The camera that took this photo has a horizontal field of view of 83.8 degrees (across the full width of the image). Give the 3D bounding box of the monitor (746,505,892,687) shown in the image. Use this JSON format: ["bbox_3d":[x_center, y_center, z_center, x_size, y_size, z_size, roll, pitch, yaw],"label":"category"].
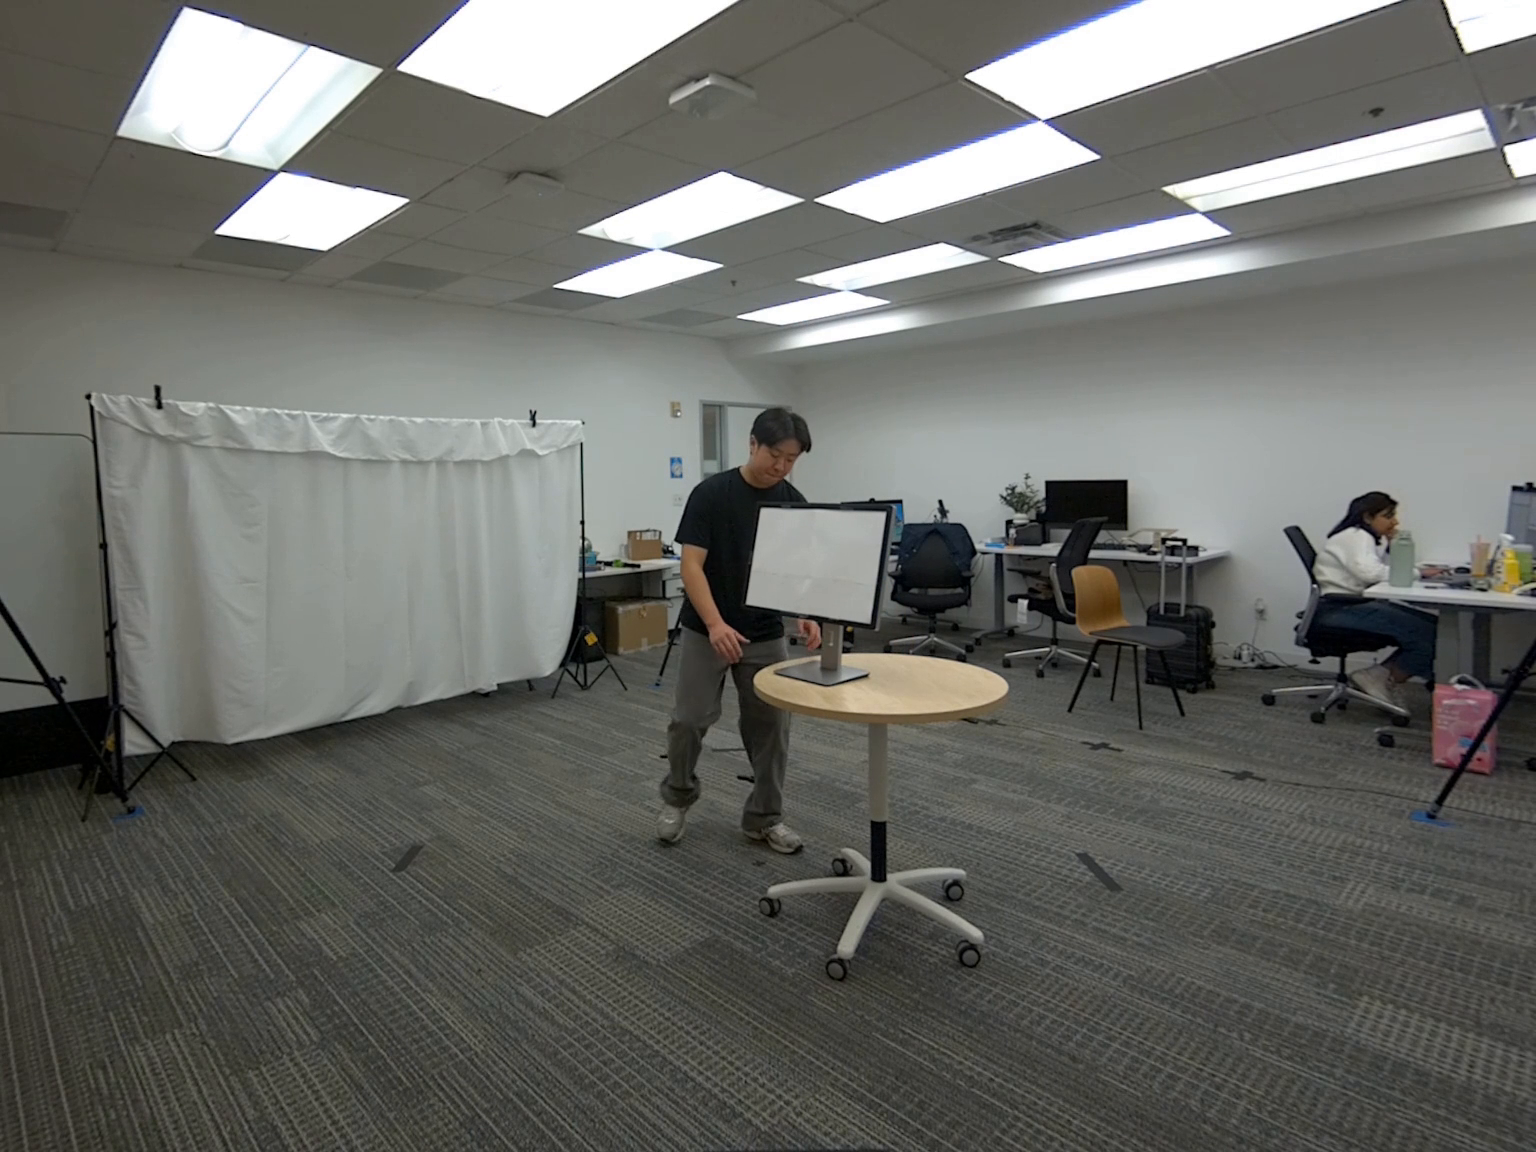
[{"bbox_3d":[0.186,0.046,2.696,0.204,0.554,0.583,4,0,-44],"label":"monitor"}]
